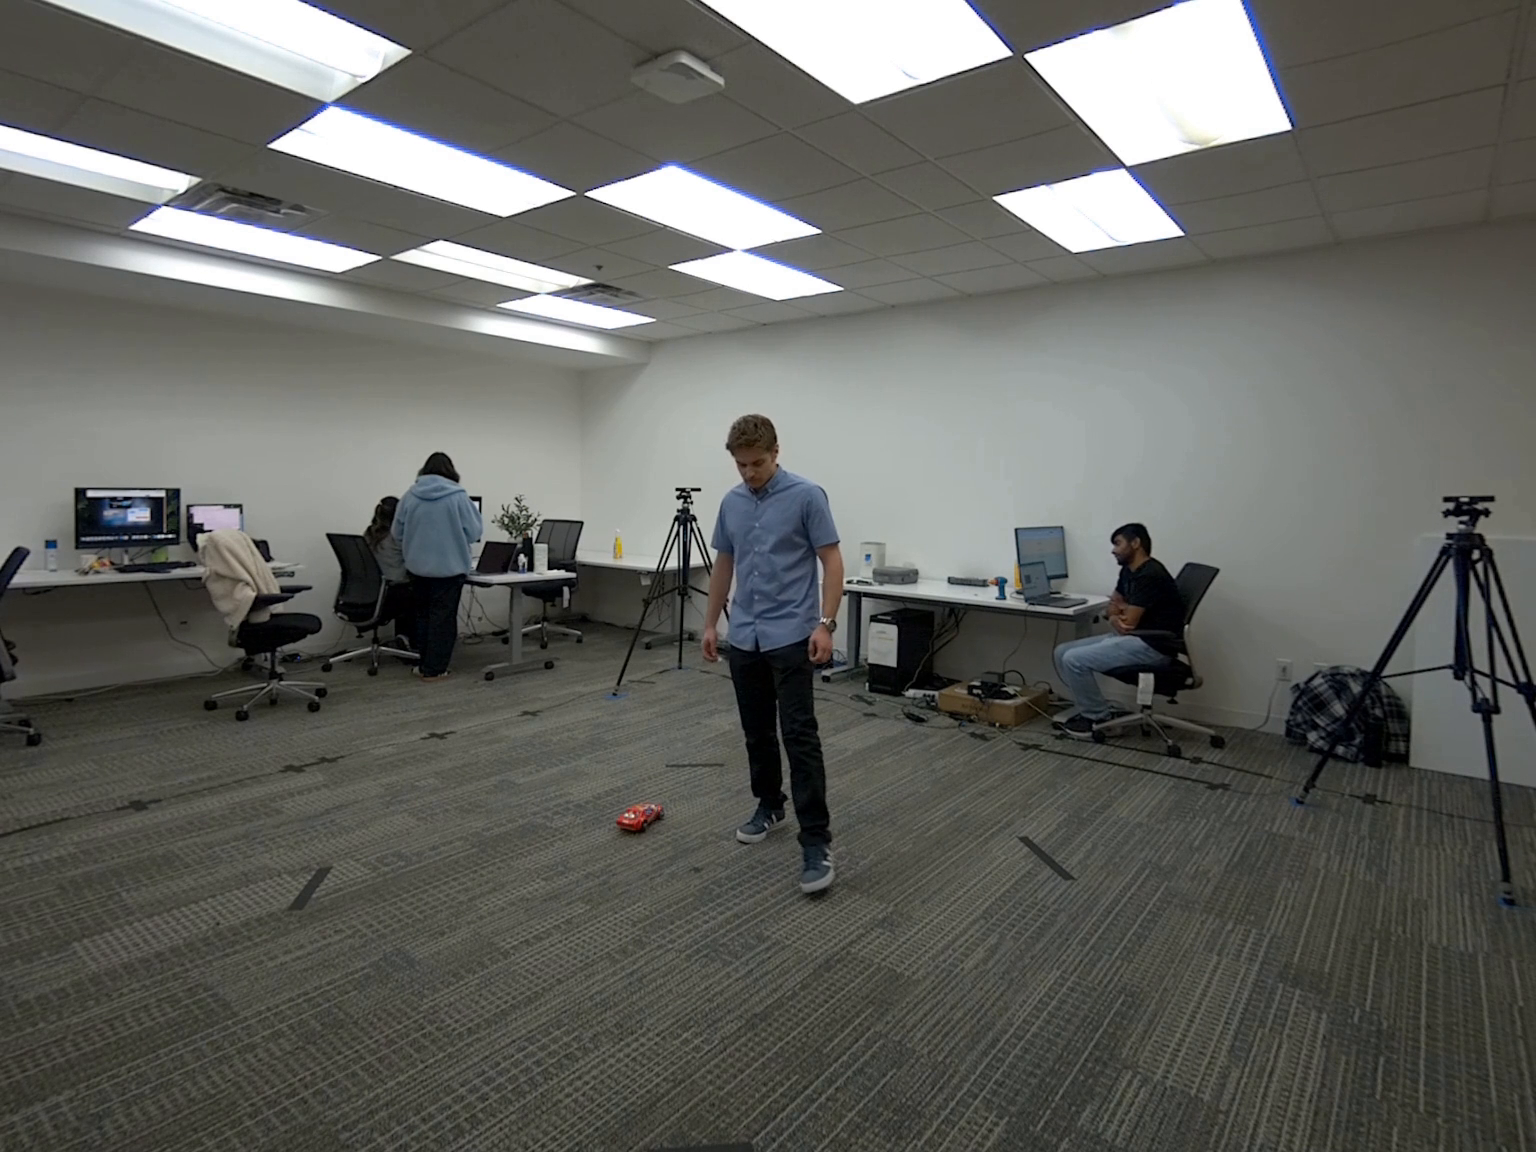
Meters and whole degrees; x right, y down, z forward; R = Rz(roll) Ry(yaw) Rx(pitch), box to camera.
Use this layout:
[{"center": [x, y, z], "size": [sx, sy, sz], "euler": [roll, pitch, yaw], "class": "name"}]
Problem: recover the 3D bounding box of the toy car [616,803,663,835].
[{"center": [-0.547, 0.995, 3.512], "size": [0.133, 0.084, 0.247], "euler": [2, -6, 23], "class": "toy car"}]
